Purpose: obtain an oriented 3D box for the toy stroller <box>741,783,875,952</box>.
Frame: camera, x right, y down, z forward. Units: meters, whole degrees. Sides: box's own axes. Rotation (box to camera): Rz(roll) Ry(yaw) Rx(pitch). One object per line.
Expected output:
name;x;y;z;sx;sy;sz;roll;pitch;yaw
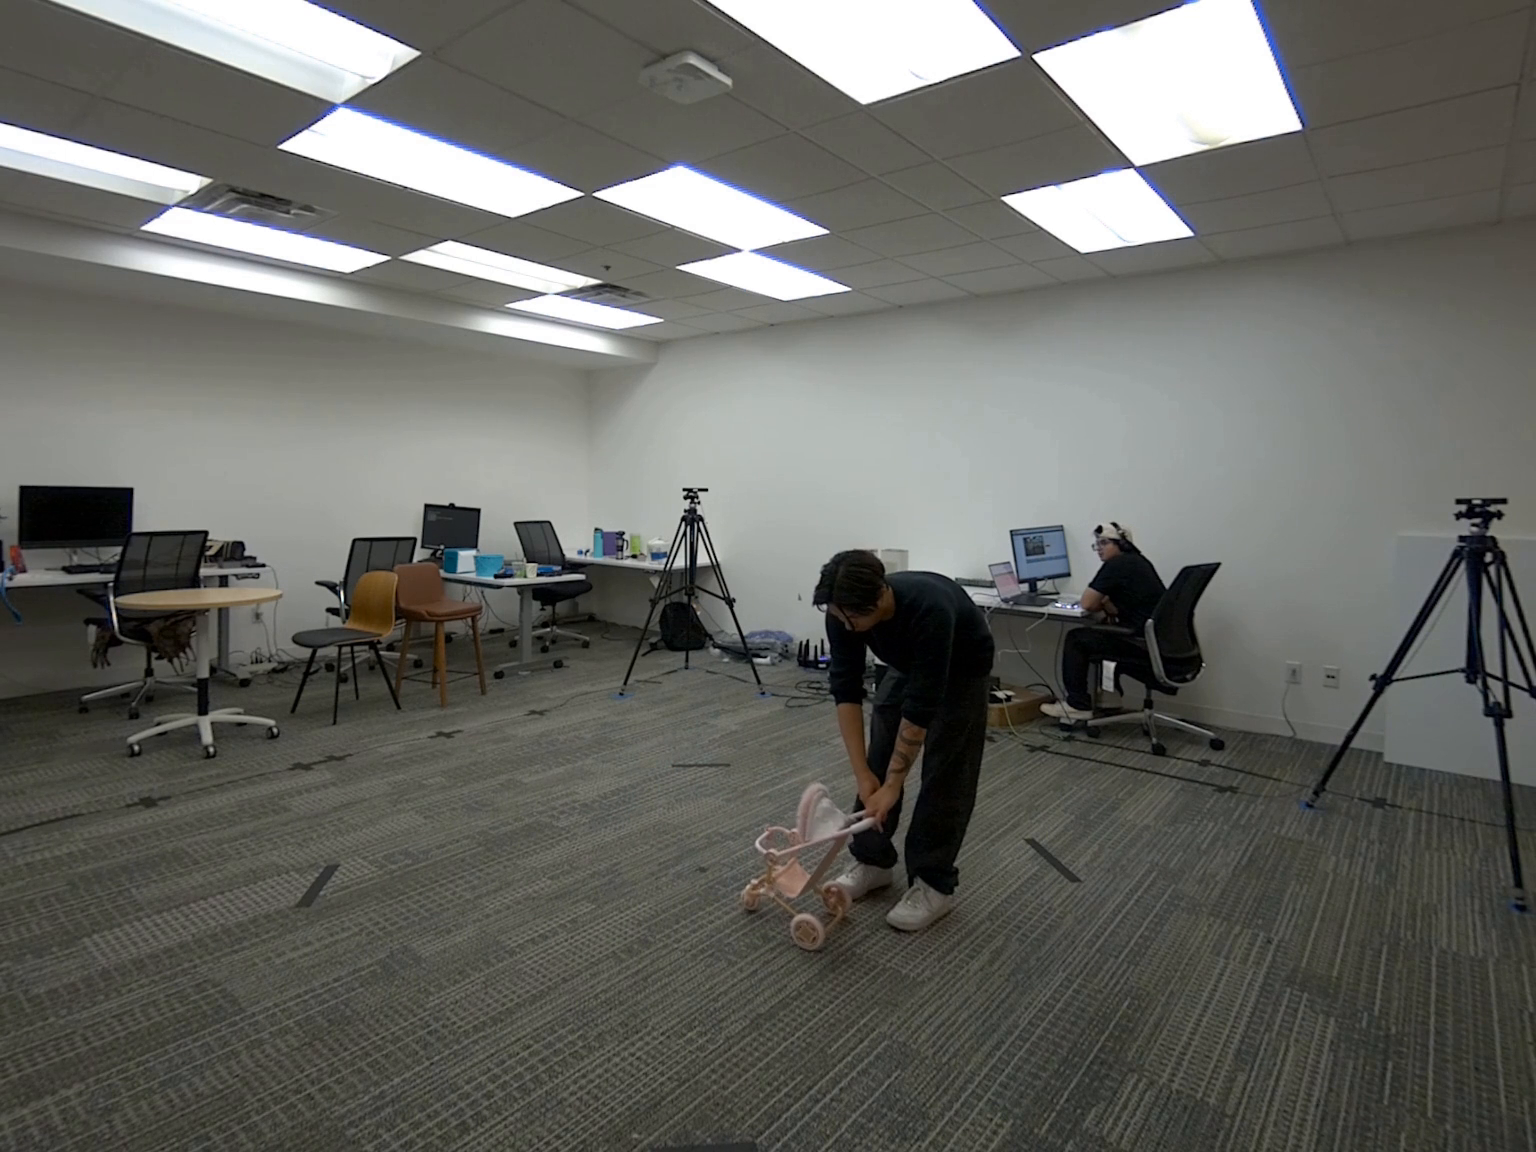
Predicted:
toy stroller;0.115;0.893;2.713;0.353;0.531;0.274;24;13;27
